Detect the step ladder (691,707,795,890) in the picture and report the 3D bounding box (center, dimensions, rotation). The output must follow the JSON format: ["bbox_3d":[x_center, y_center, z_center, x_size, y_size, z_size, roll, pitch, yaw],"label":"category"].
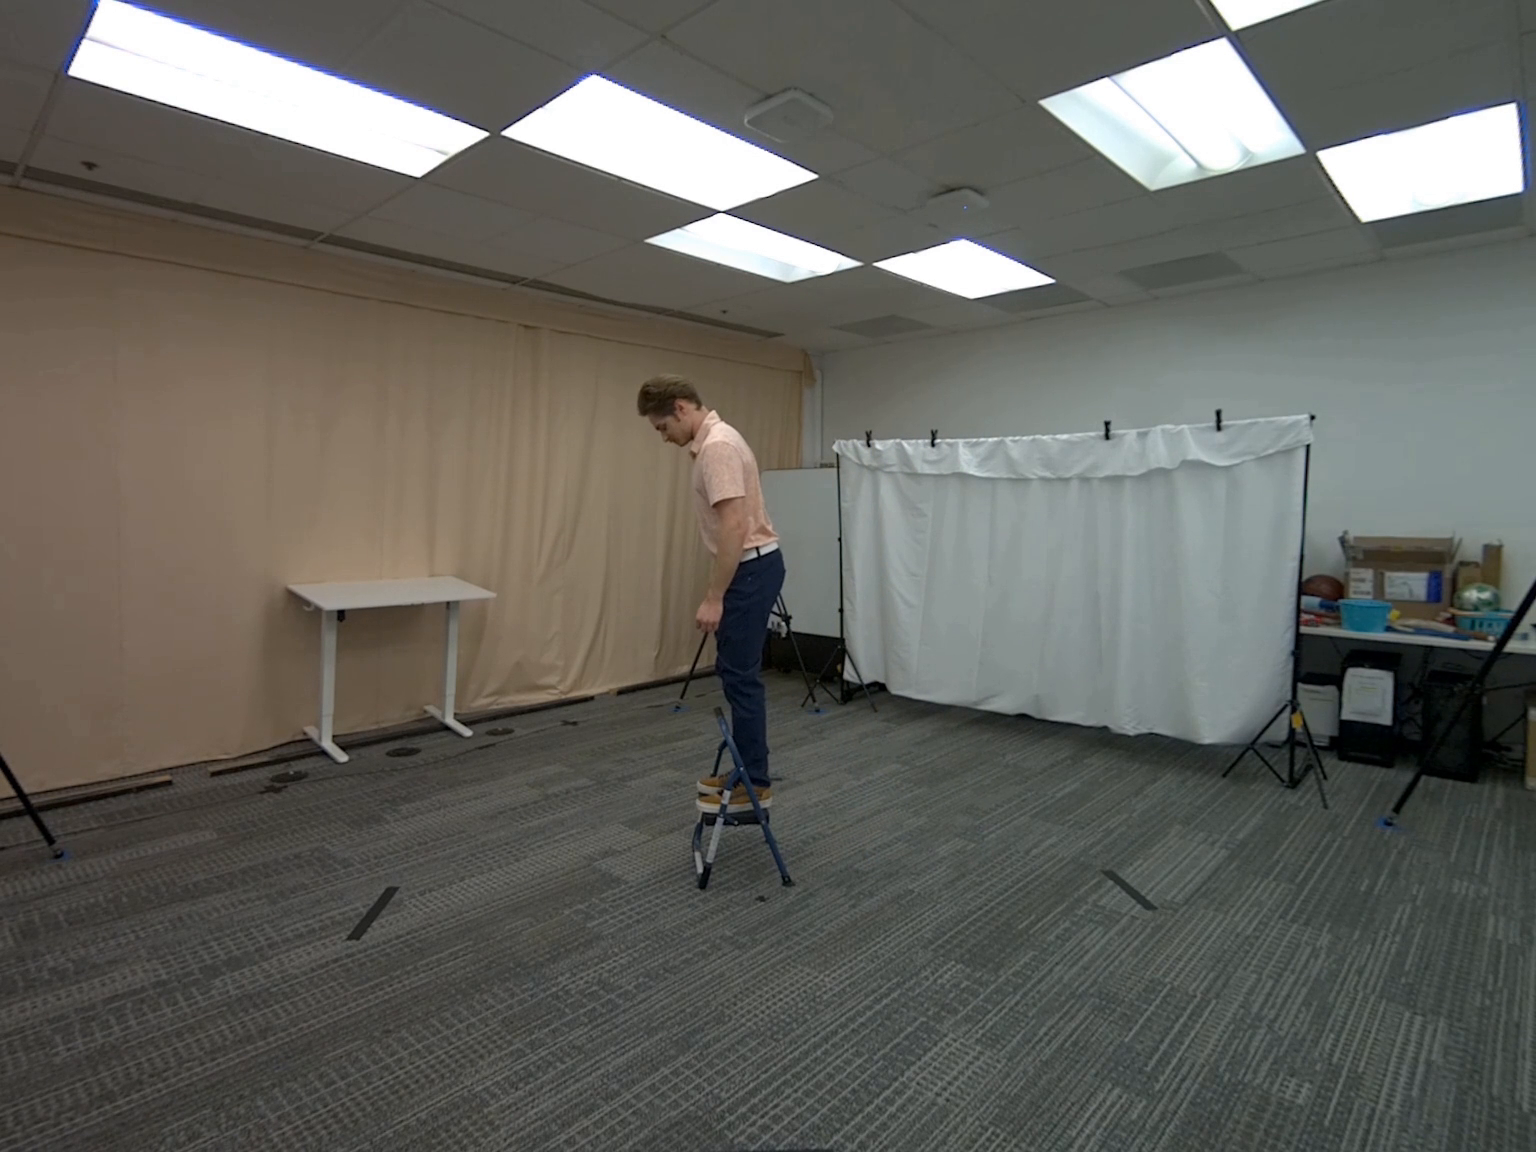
[{"bbox_3d":[-0.114,0.821,3.258,0.346,0.605,0.435,0,3,-9],"label":"step ladder"}]
